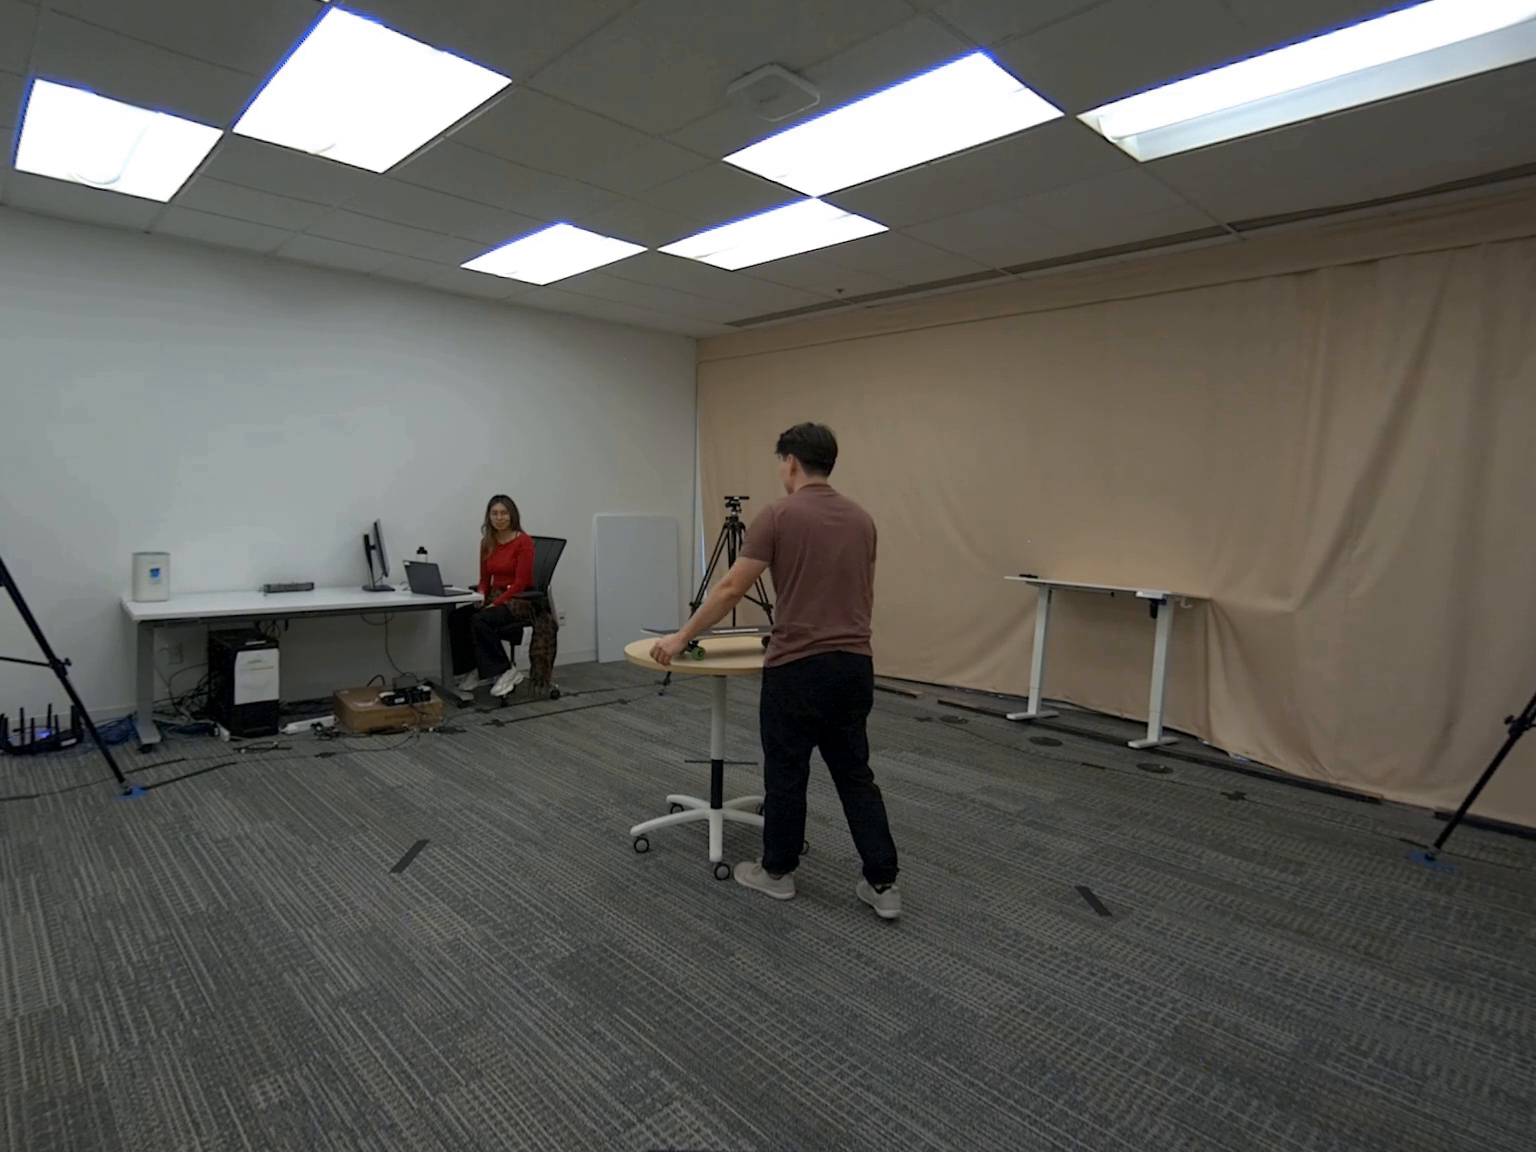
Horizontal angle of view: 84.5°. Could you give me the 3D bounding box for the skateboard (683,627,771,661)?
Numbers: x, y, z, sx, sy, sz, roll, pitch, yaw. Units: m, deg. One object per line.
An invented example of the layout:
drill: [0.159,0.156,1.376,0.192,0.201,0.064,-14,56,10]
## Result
skateboard: [-0.134,0.254,3.288,0.770,0.110,0.198,-1,4,-29]
